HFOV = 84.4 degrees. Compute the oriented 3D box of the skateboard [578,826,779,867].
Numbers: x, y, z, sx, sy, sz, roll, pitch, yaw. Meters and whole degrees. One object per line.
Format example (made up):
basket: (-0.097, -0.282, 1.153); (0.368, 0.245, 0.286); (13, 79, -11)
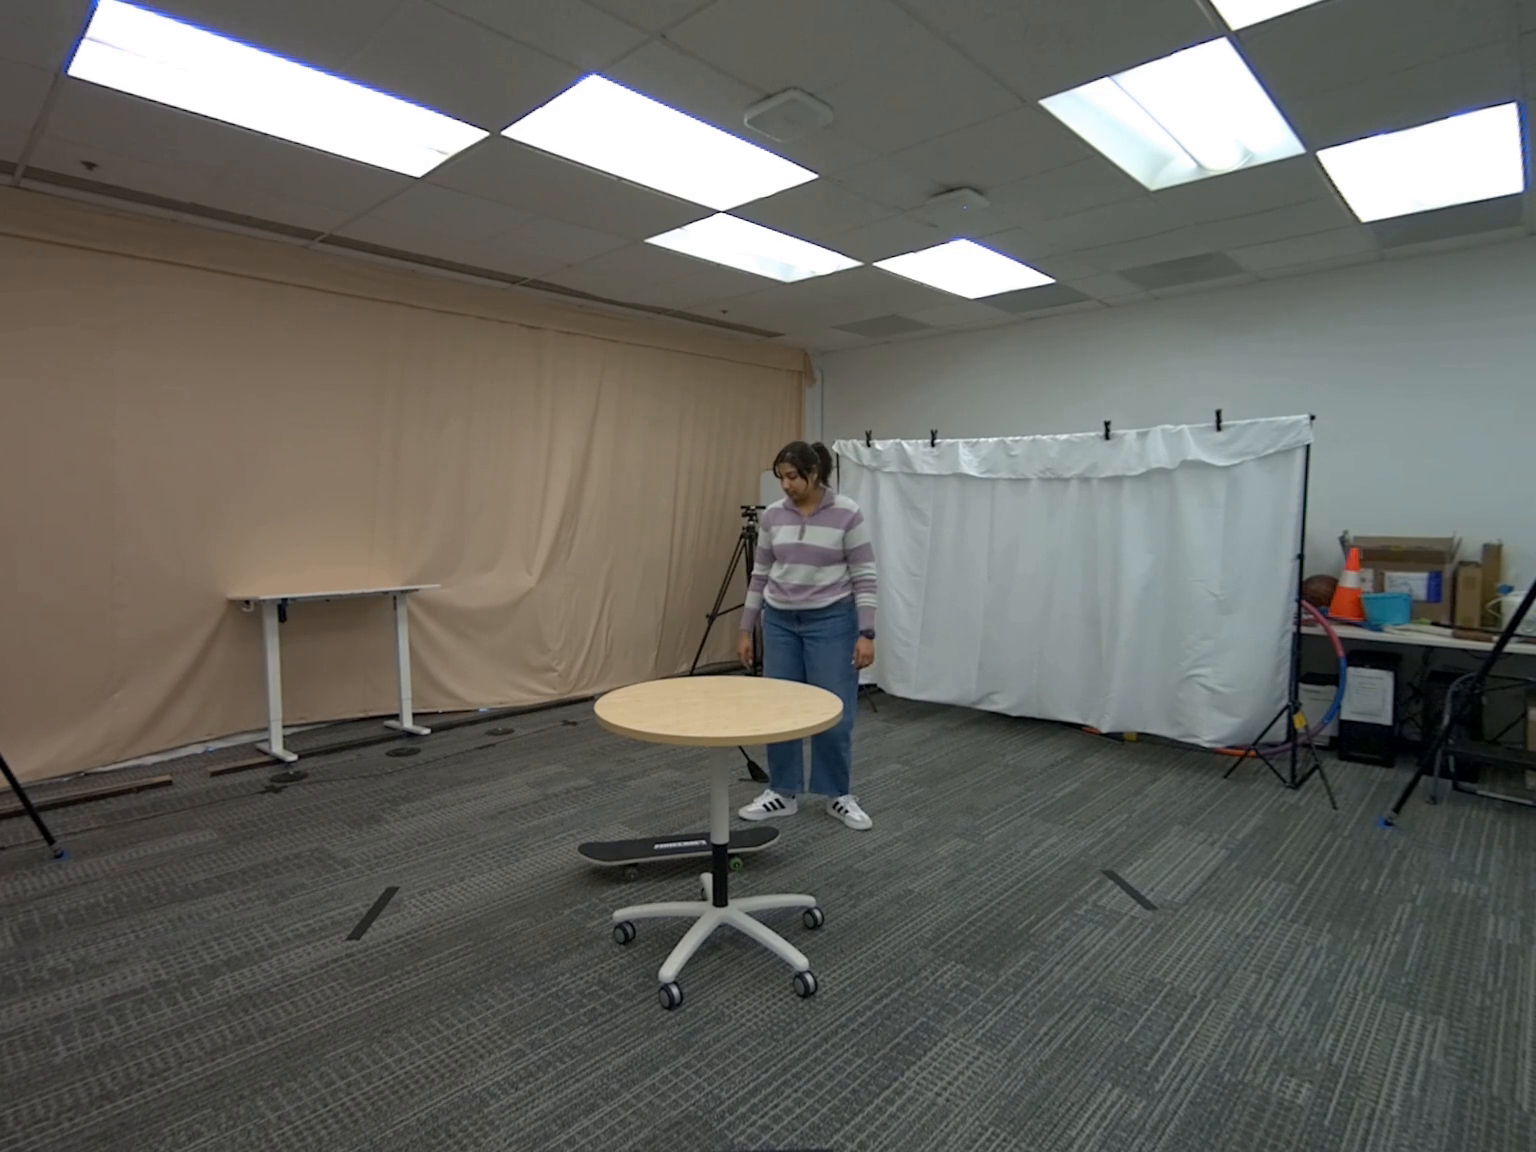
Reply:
skateboard: (-0.338, 1.068, 3.239); (0.776, 0.110, 0.196); (-1, 5, -12)
